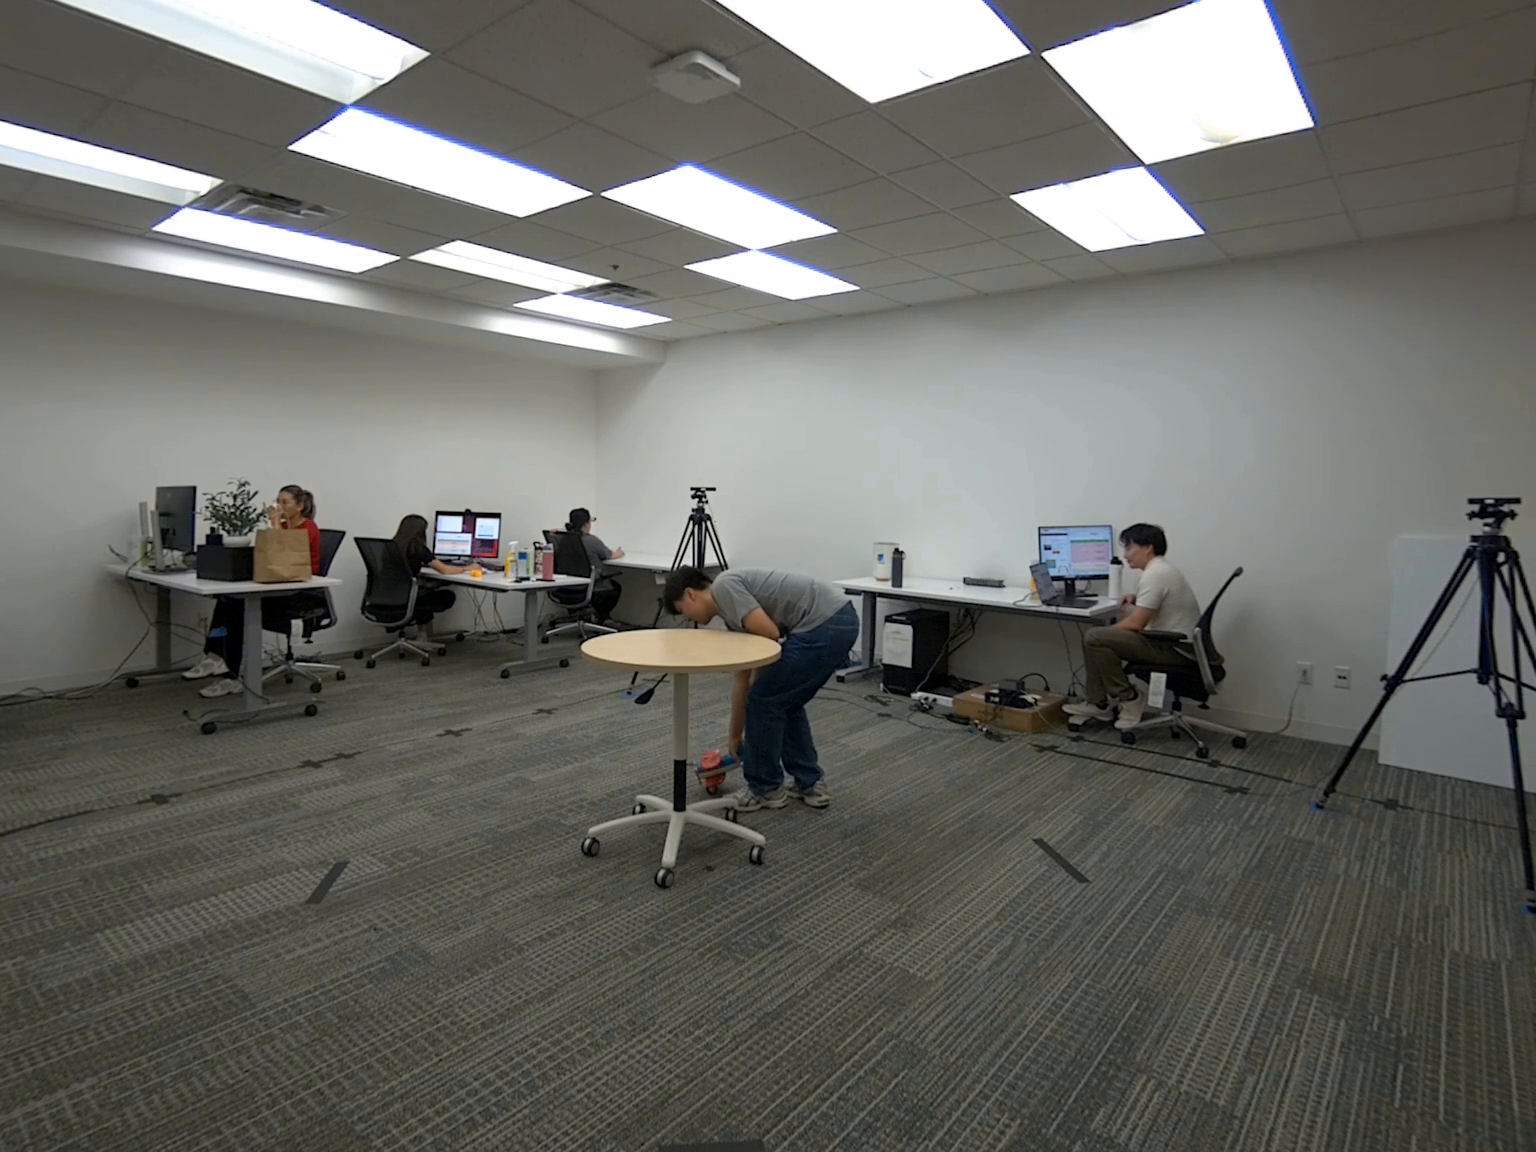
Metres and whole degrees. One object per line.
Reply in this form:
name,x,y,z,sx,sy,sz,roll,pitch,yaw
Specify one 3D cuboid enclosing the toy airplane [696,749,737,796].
toy airplane,-0.224,0.879,3.934,0.257,0.156,0.255,-32,6,-26
